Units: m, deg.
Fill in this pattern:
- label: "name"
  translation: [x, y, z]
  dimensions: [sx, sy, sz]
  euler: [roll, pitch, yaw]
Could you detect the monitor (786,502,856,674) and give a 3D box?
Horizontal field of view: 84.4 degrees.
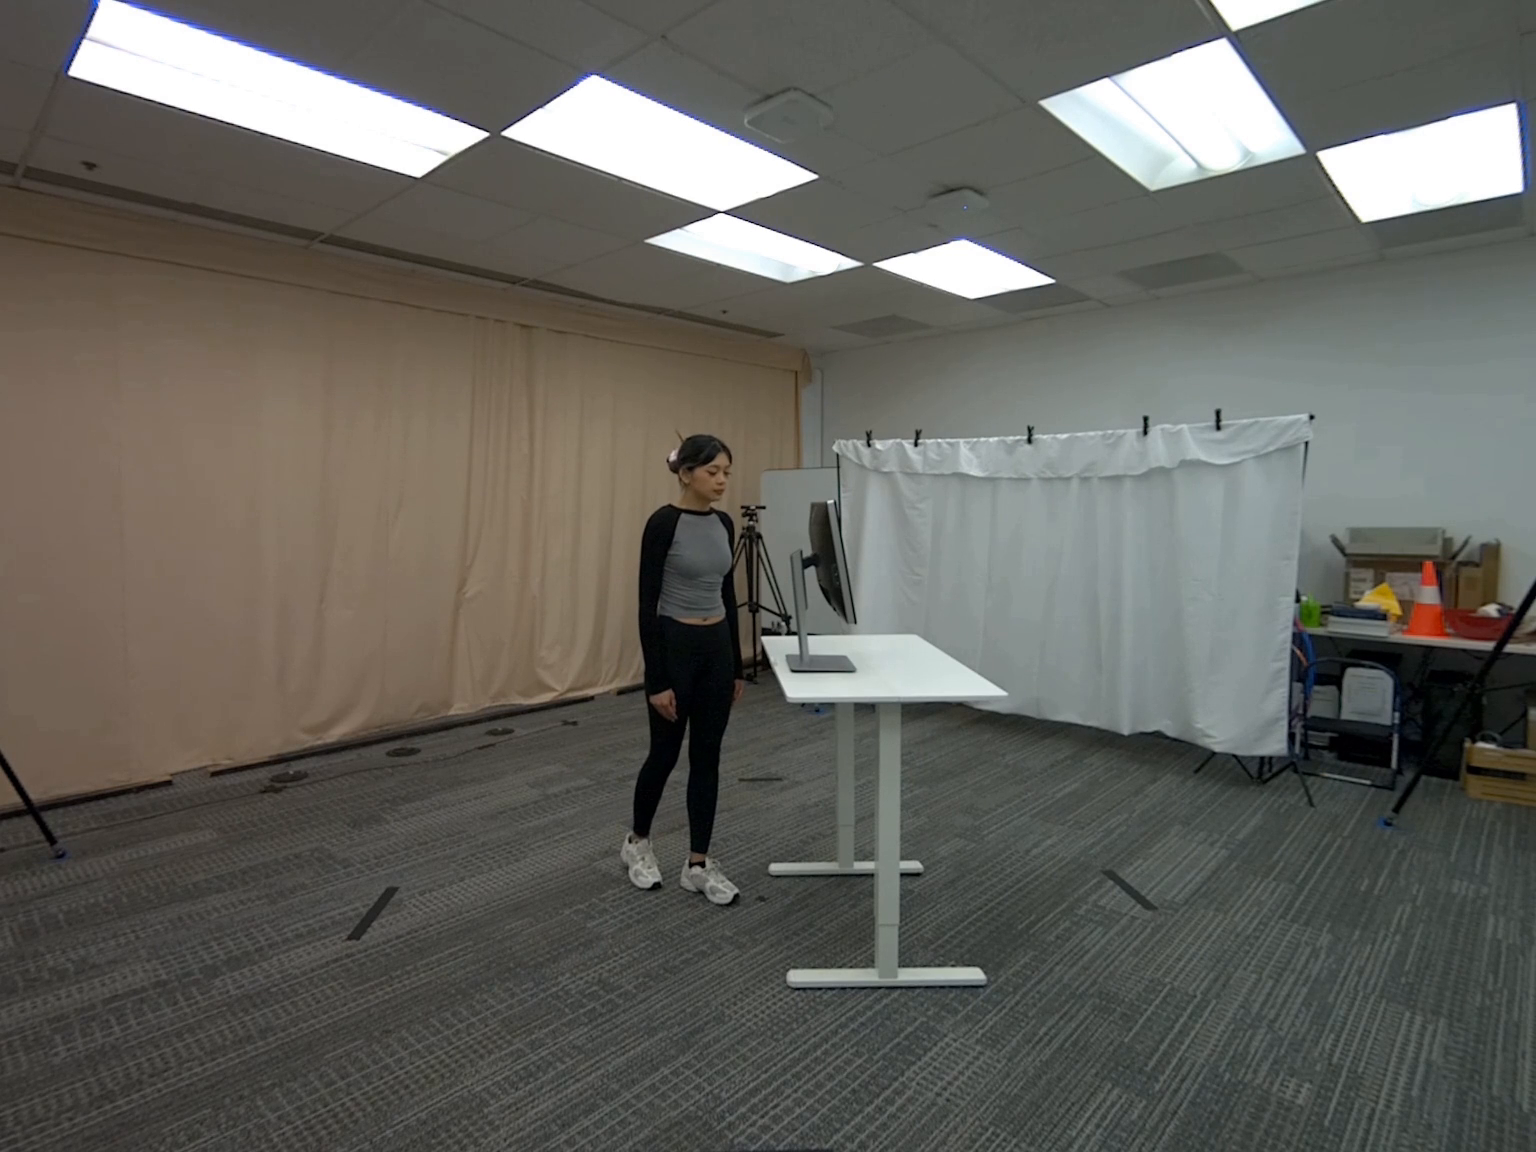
- label: "monitor"
  translation: [0.165, 0.028, 2.685]
  dimensions: [0.187, 0.521, 0.542]
  euler: [2, 4, -4]
